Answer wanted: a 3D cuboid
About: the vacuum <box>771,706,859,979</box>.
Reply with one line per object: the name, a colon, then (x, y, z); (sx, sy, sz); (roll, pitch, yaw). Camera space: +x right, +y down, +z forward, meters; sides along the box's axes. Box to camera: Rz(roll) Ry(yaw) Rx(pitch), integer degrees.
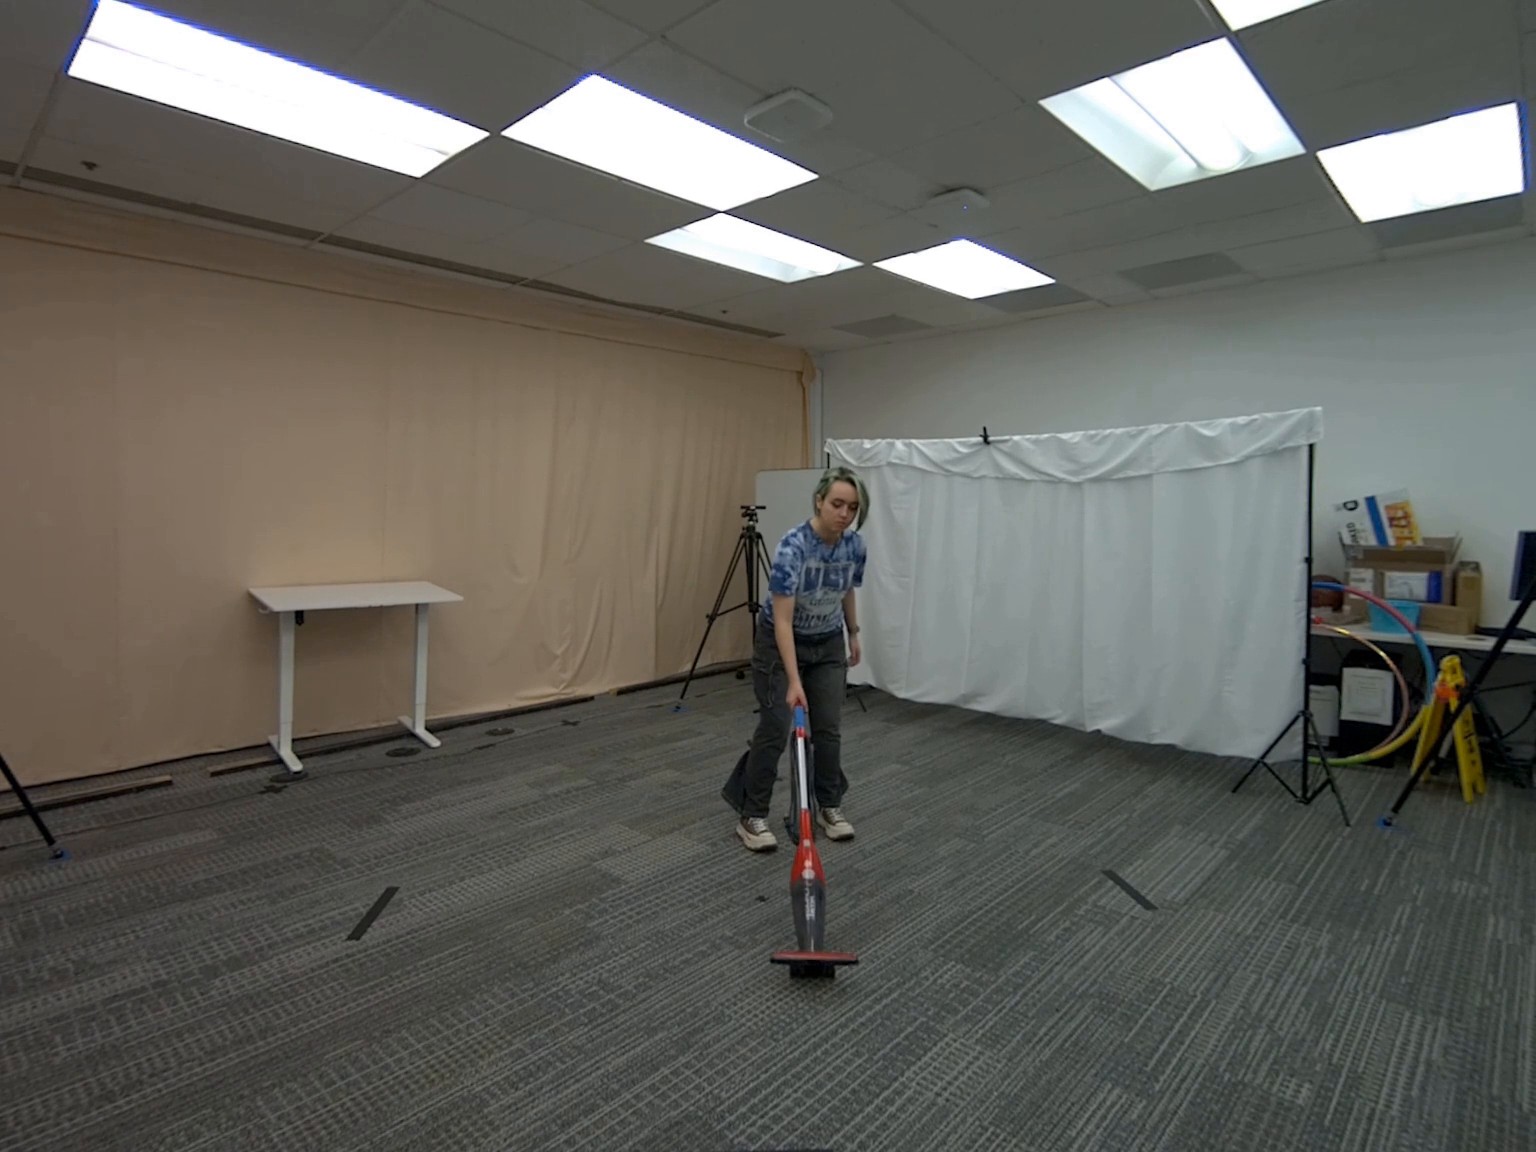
vacuum: (0.133, 0.818, 2.865); (0.253, 0.141, 1.067); (1, 38, 0)
